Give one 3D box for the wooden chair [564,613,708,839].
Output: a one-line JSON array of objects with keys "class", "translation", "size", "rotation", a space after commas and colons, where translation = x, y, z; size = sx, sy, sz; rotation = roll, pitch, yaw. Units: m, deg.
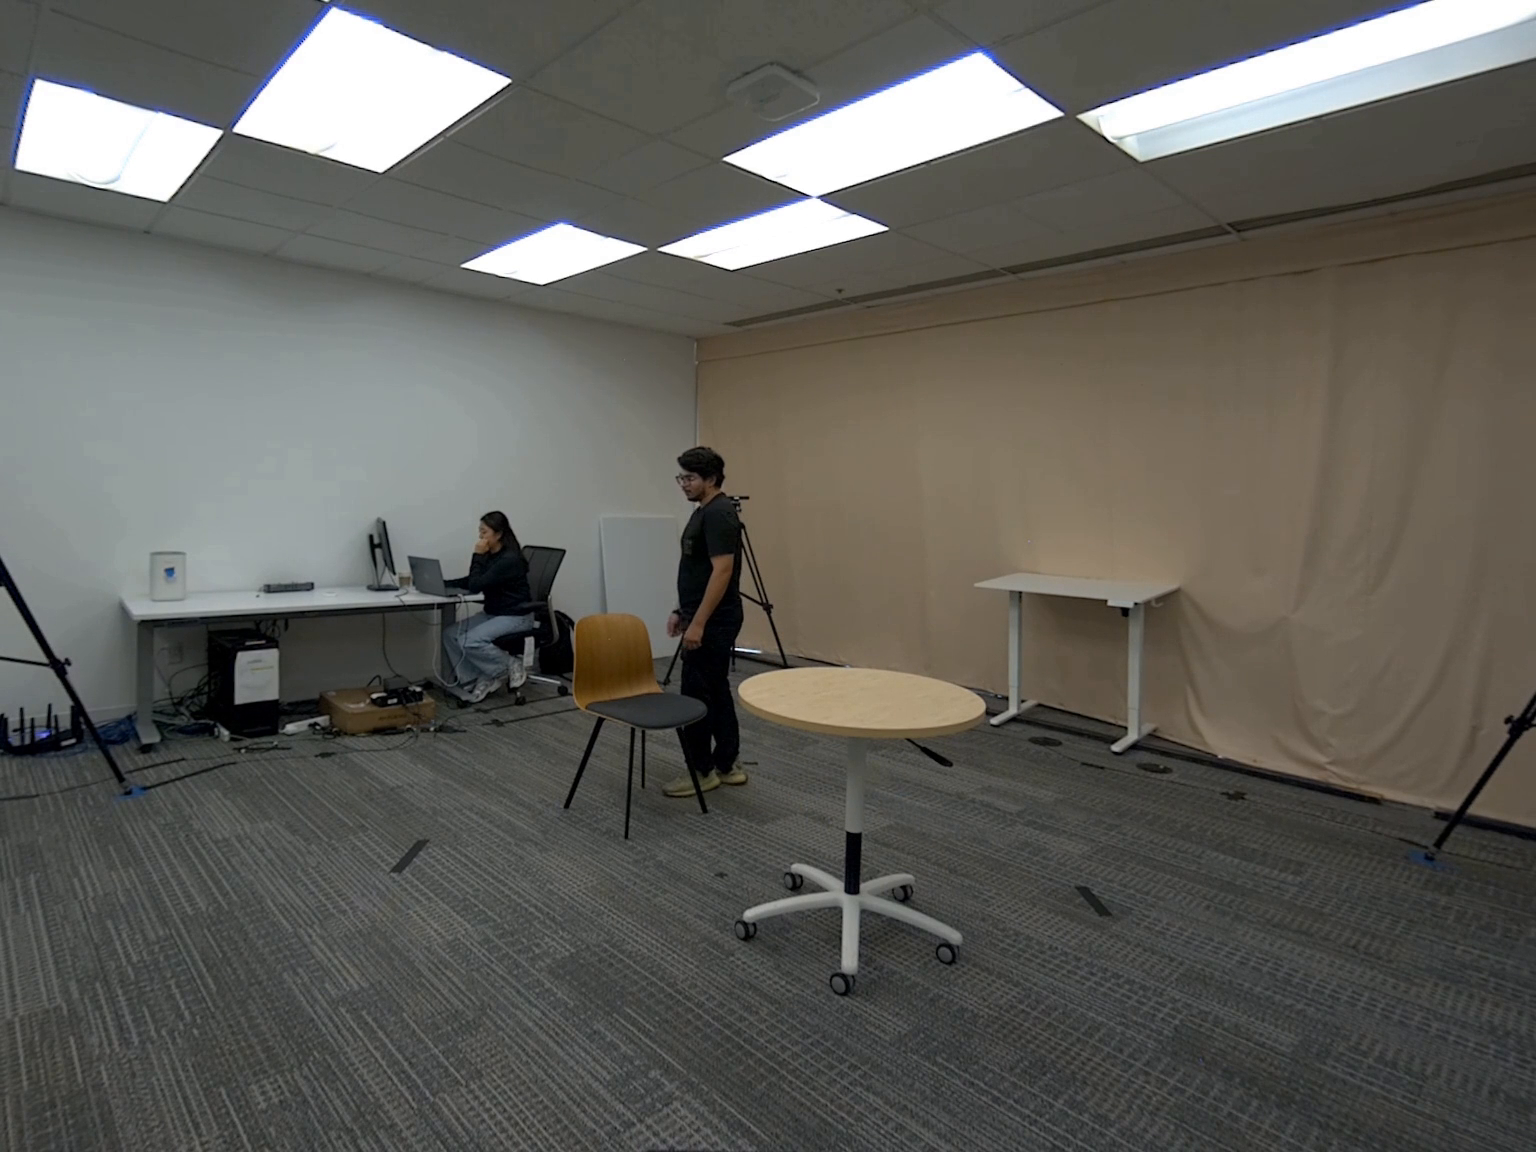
[{"class": "wooden chair", "translation": [-0.577, 0.615, 3.679], "size": [0.535, 0.878, 0.467], "rotation": [-1, 0, 44]}]
